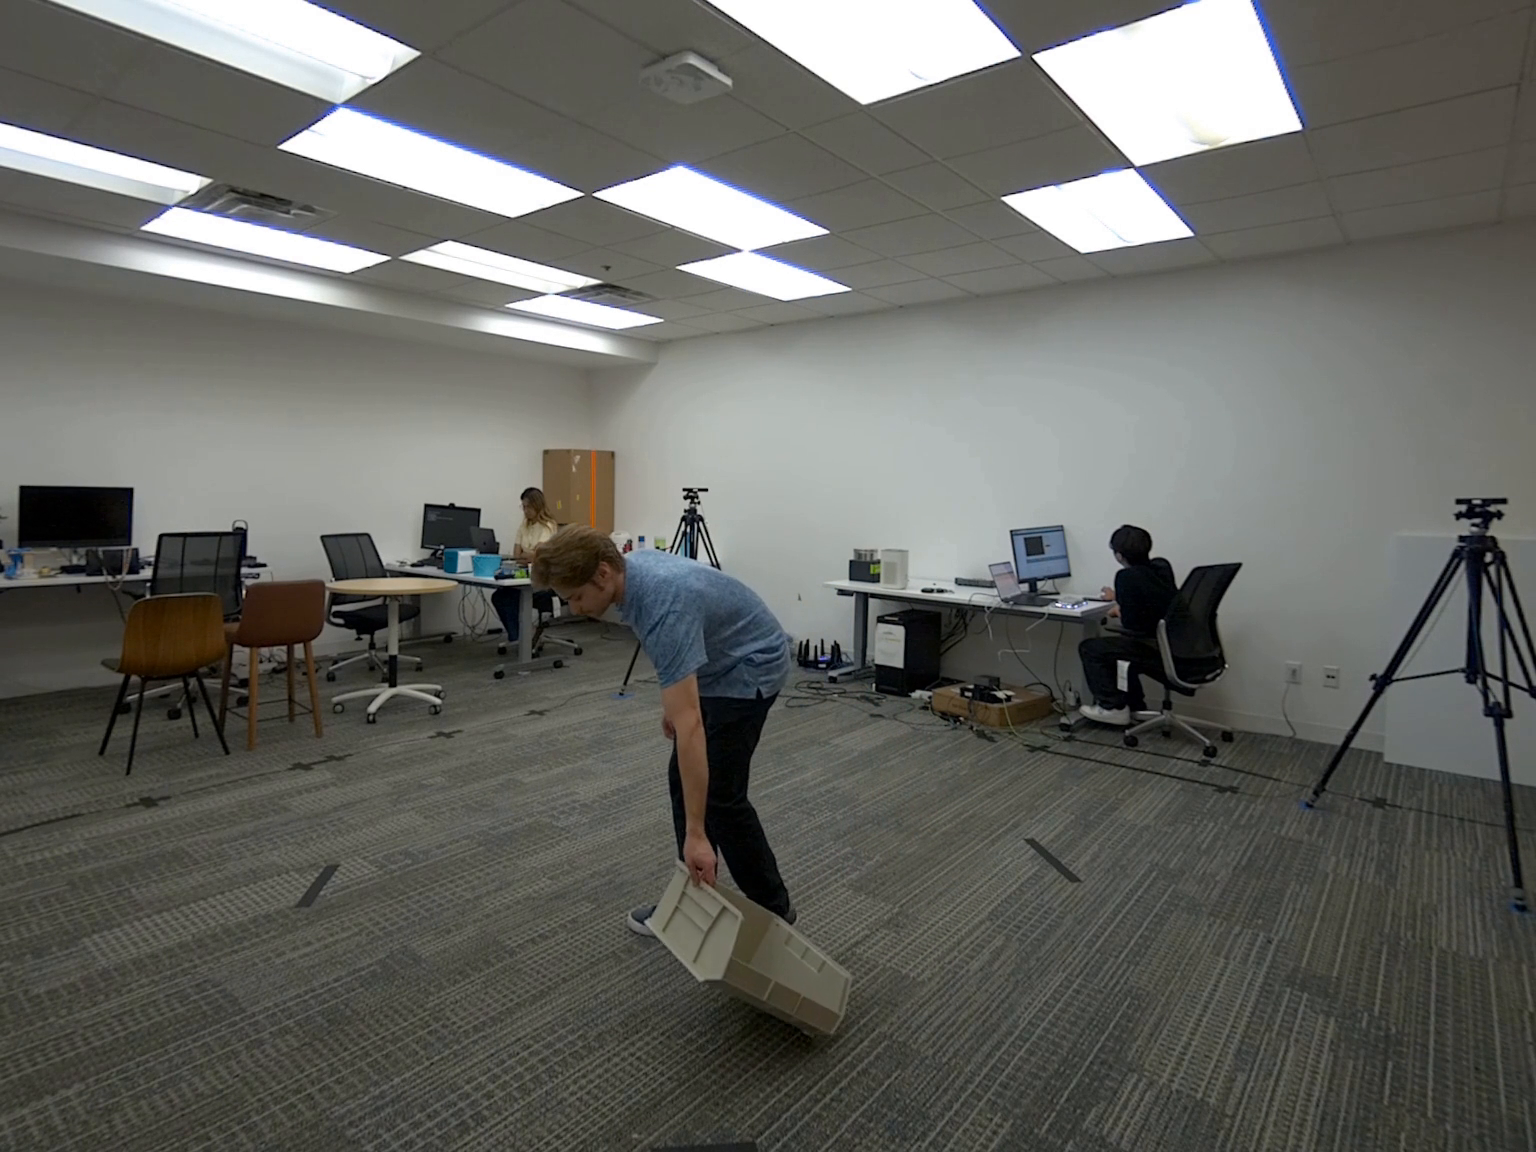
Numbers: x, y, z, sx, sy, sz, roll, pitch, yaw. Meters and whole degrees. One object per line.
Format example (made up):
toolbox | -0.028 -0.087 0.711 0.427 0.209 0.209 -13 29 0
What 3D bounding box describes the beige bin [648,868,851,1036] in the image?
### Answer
beige bin | -0.052 0.969 2.207 0.408 0.190 0.389 39 -16 -28
